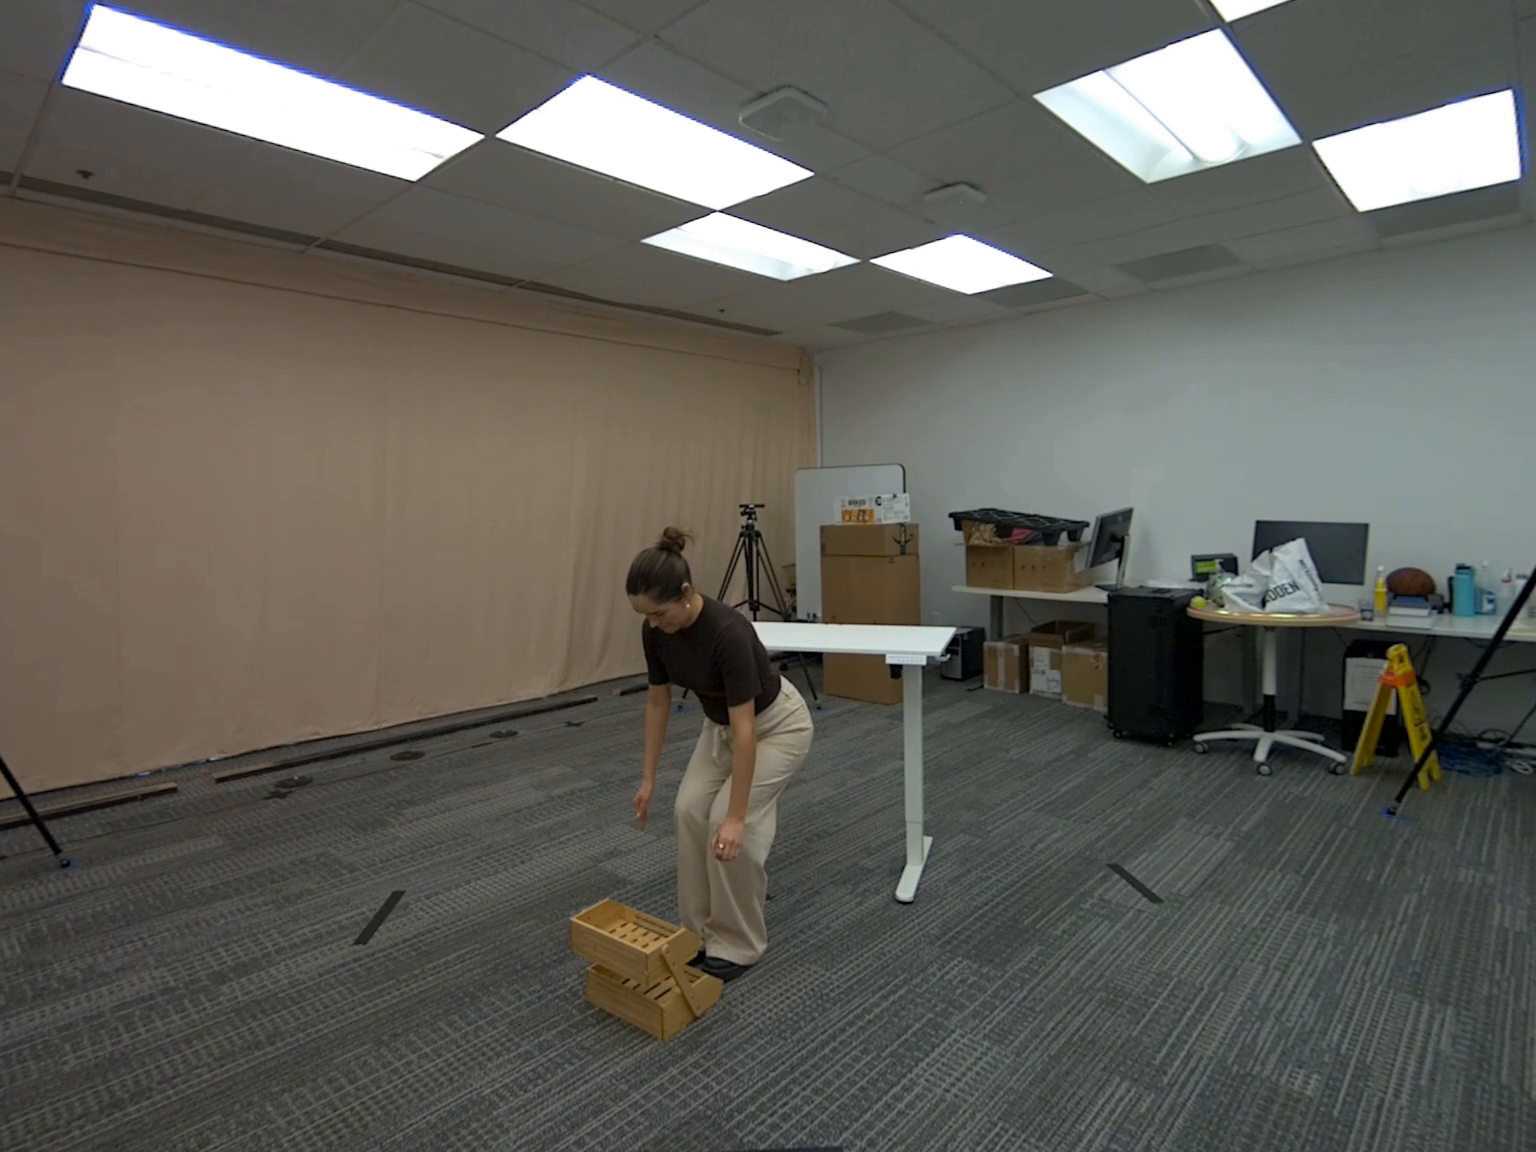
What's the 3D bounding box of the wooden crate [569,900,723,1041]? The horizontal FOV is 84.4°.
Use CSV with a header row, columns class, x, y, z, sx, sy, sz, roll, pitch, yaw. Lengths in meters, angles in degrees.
class,x,y,z,sx,sy,sz,roll,pitch,yaw
wooden crate,-0.337,1.065,2.353,0.335,0.272,0.293,2,6,37
